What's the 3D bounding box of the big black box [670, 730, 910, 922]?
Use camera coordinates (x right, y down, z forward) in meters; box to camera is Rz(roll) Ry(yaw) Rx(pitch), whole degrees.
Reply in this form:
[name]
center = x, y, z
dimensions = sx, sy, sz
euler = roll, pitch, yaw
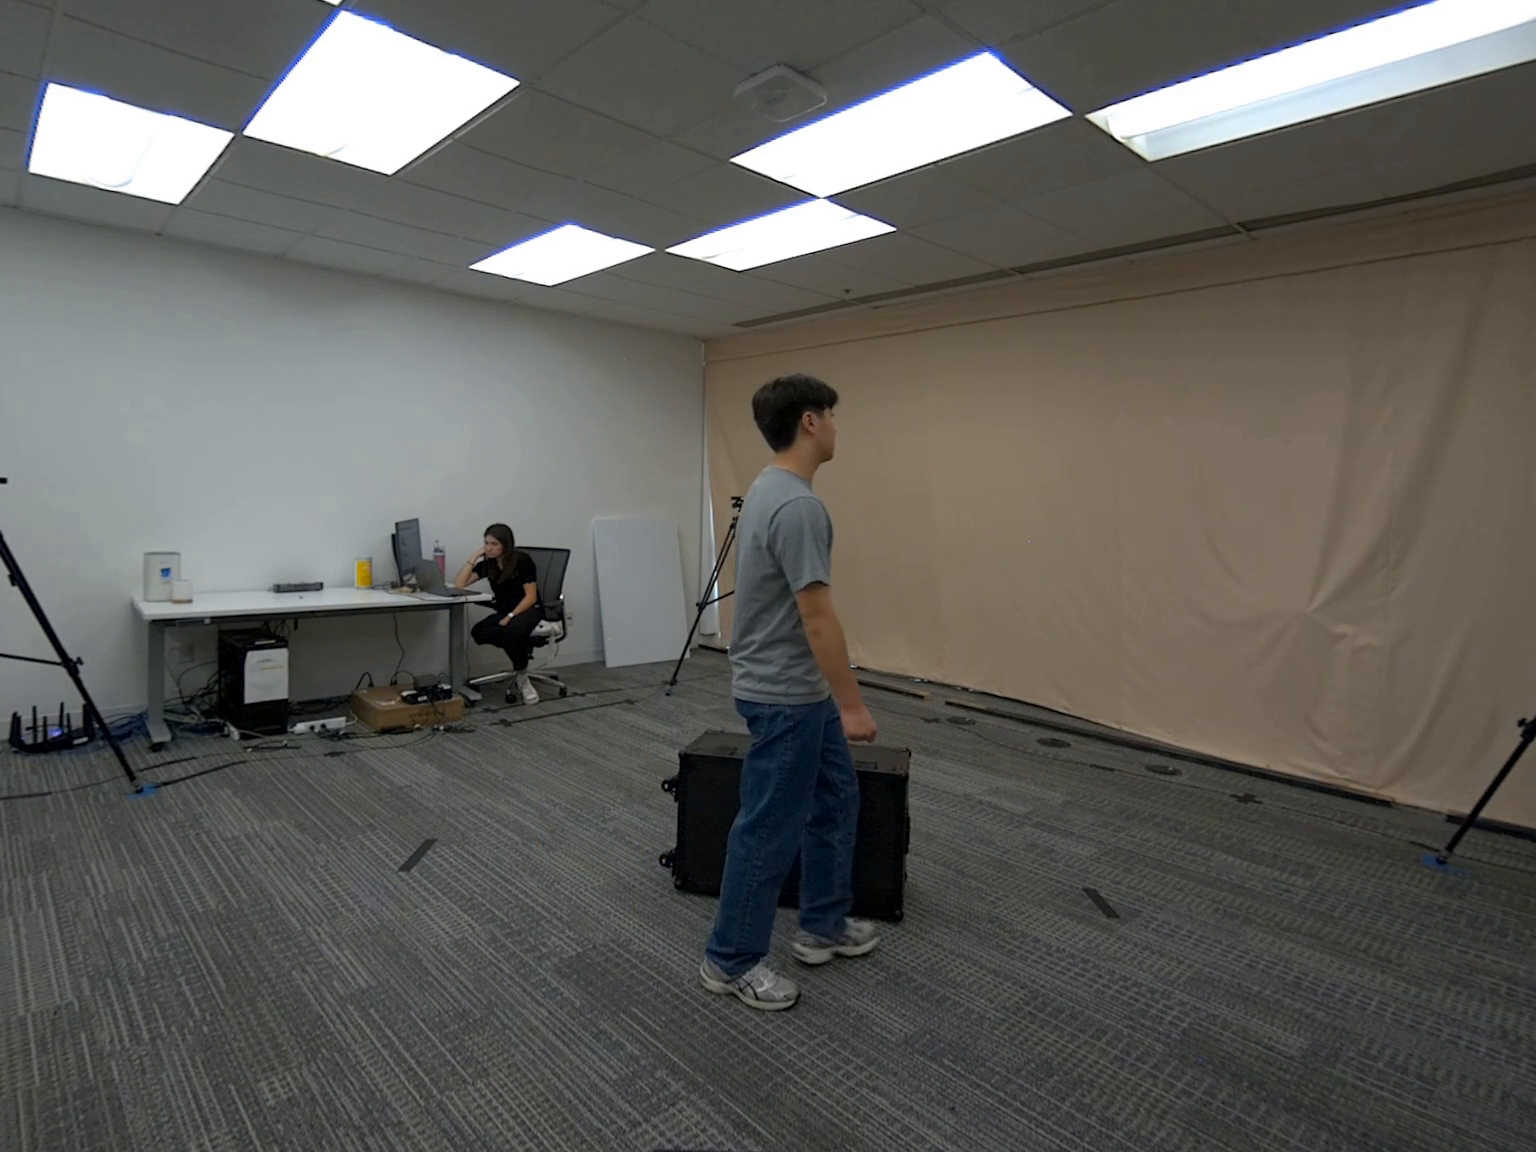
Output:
[big black box]
center = 0.125, 0.865, 3.024
dimensions = 0.872, 0.520, 0.392
euler = 3, 3, 14
